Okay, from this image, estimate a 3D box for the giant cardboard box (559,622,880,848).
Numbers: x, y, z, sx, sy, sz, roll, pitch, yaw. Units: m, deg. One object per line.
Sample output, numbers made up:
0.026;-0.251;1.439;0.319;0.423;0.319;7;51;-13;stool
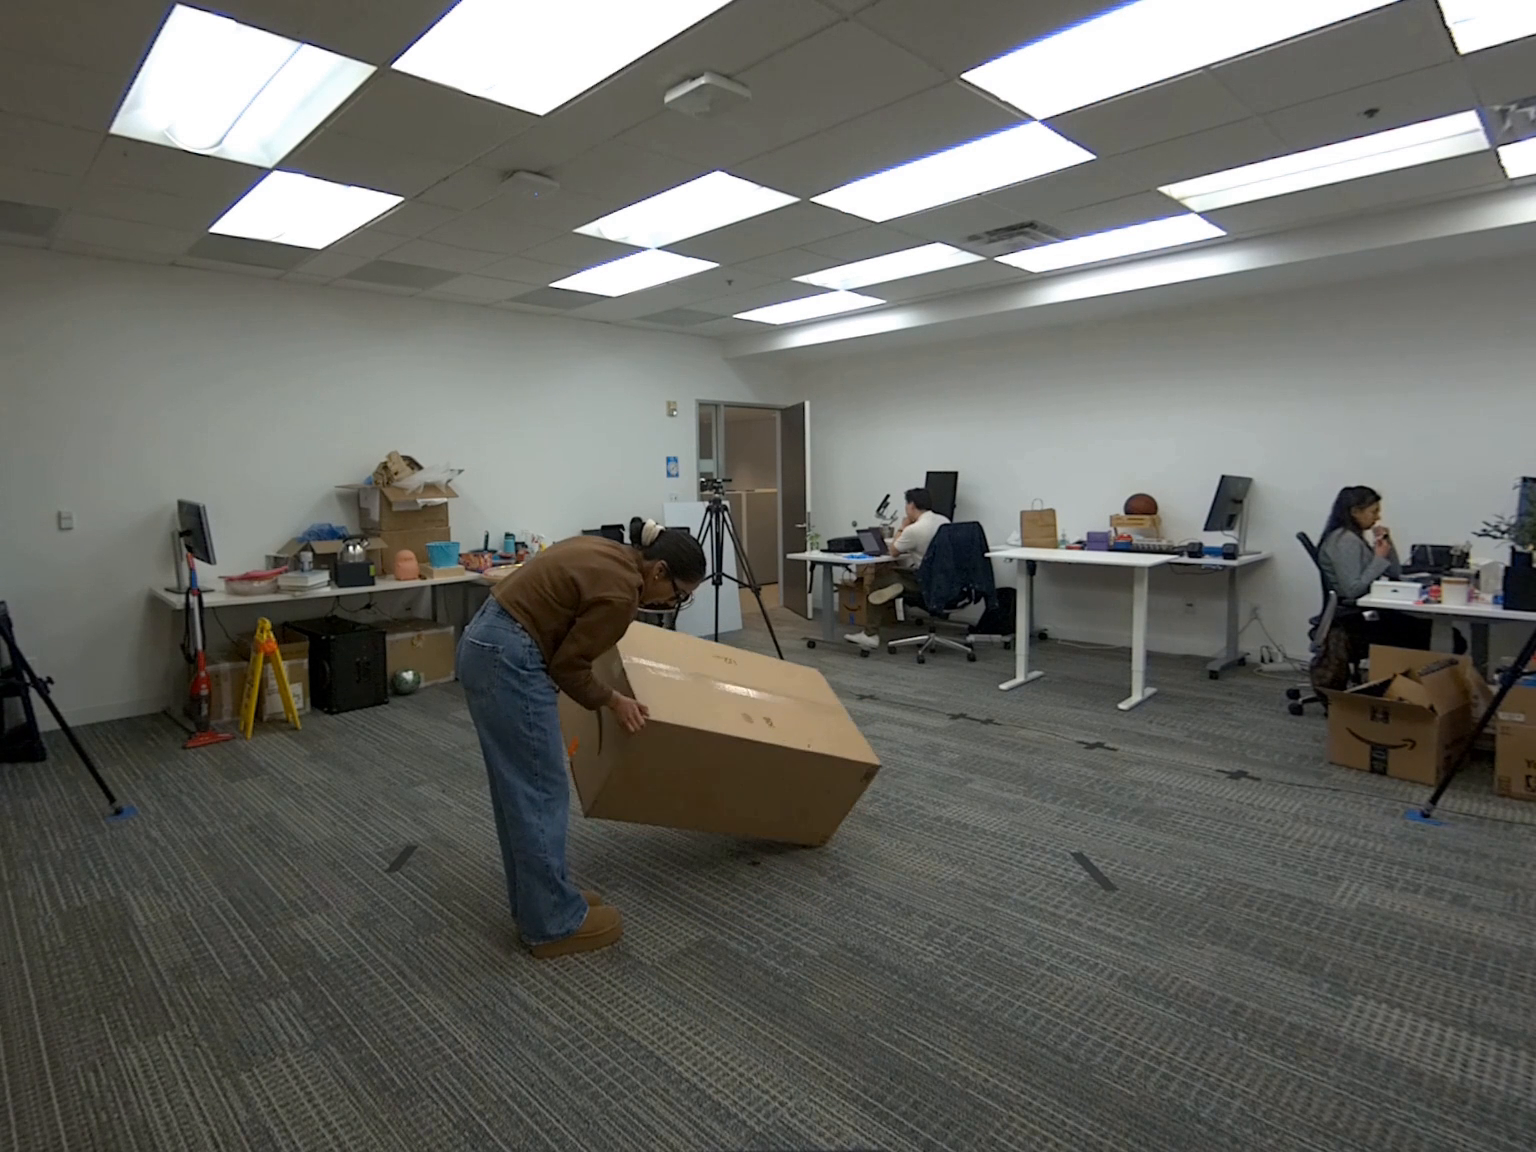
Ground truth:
-0.190;0.581;3.155;0.994;0.444;0.606;19;21;-32;giant cardboard box
